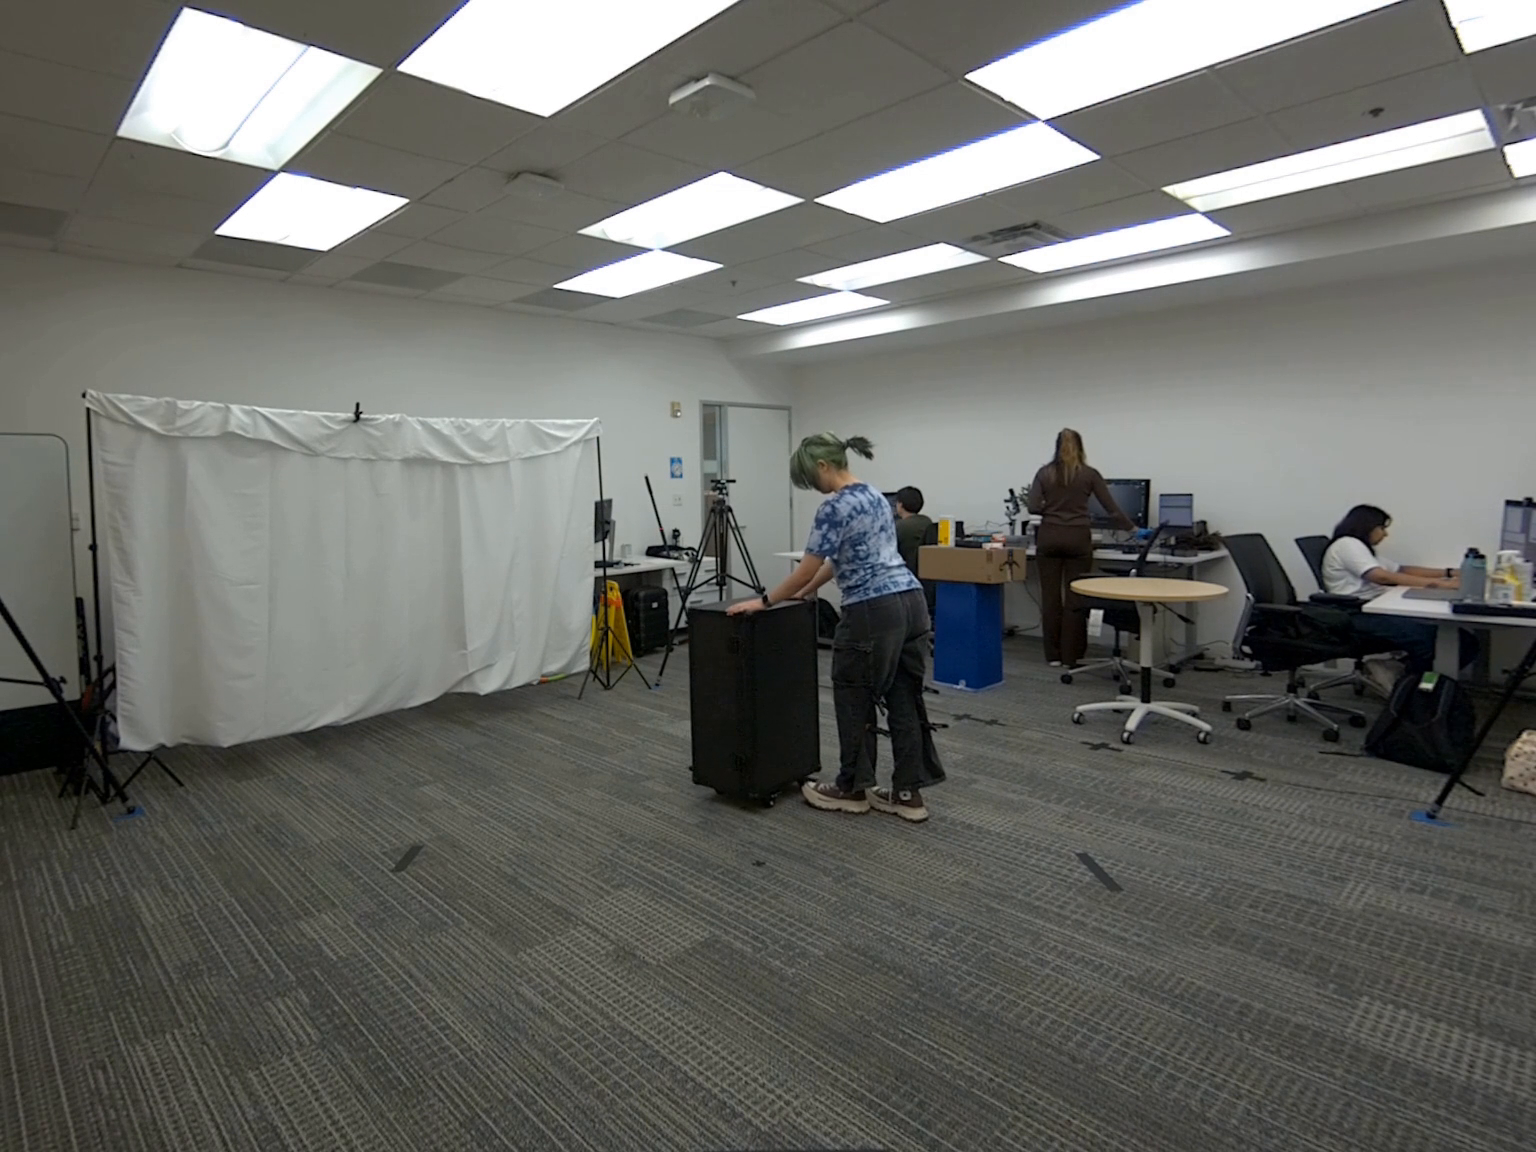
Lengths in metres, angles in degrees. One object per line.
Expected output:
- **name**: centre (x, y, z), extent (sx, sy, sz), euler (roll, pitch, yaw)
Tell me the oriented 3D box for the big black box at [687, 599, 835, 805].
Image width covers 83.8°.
- **big black box**: centre (-0.066, 0.544, 3.805), extent (0.408, 0.859, 0.508), euler (0, 4, 40)
